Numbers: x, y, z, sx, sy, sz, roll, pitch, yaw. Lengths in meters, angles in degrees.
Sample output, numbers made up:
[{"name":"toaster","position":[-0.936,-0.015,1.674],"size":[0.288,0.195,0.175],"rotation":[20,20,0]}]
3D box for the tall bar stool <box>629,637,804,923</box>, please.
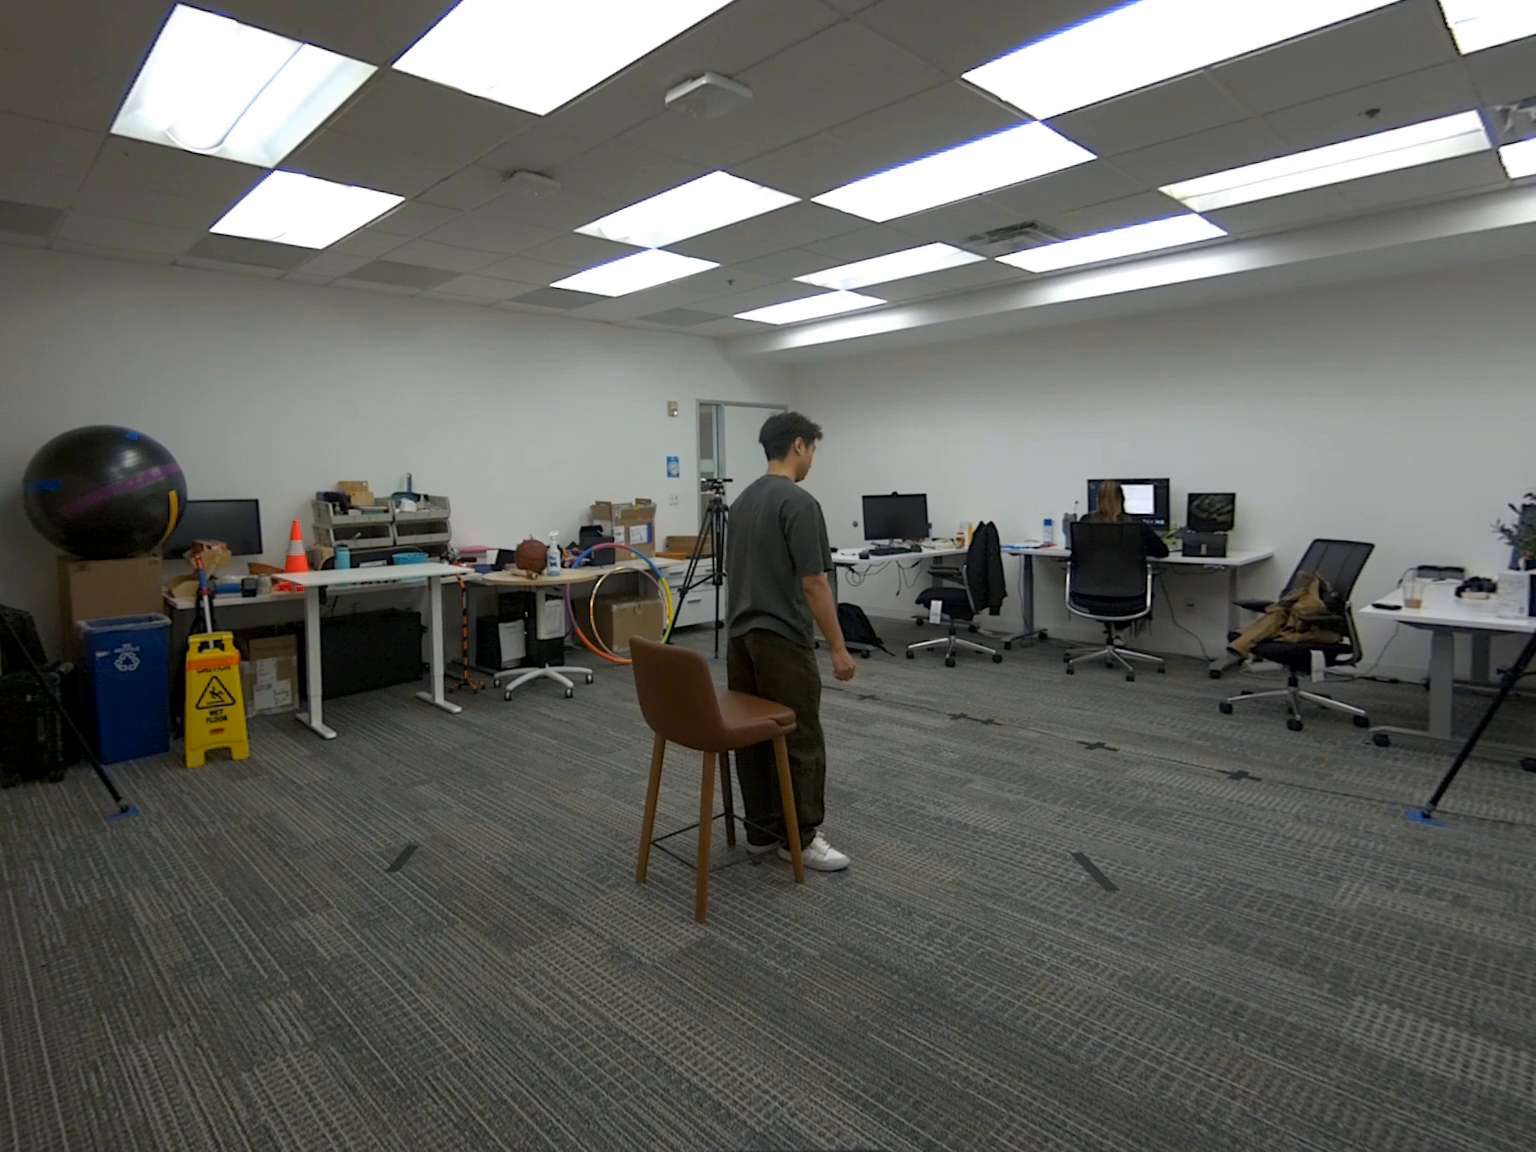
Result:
[{"name":"tall bar stool","position":[-0.177,0.625,2.939],"size":[0.456,0.885,0.470],"rotation":[-6,7,-39]}]
